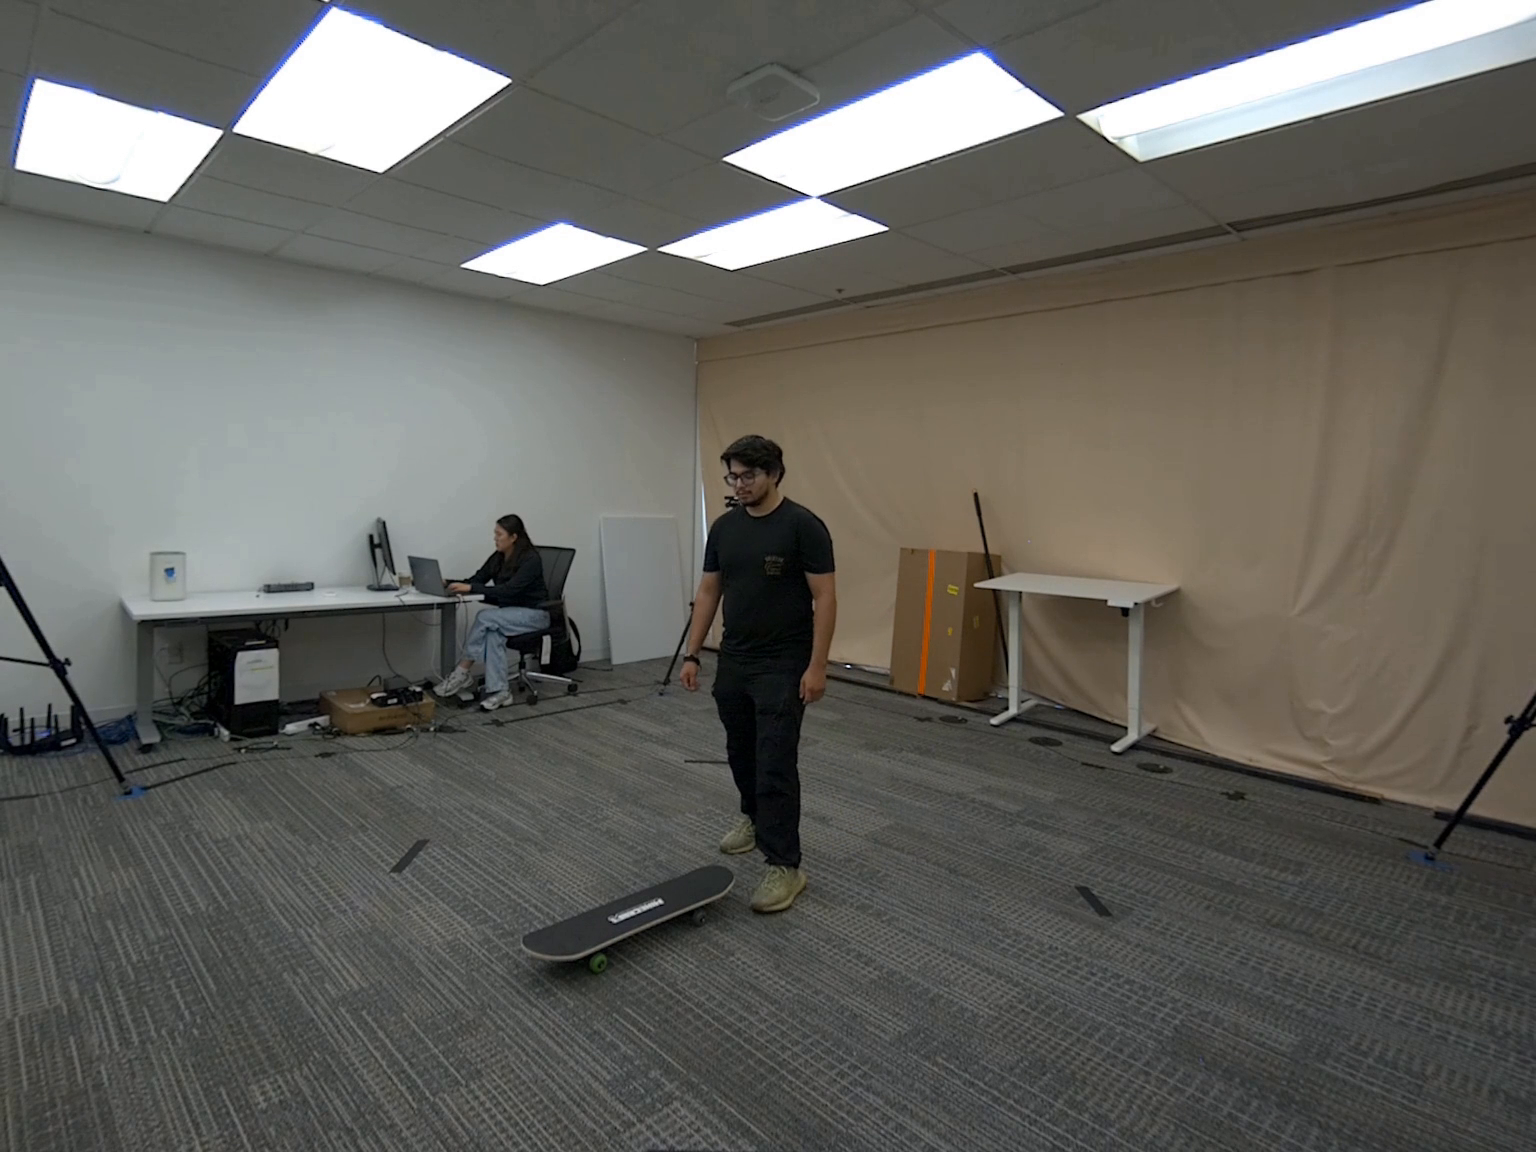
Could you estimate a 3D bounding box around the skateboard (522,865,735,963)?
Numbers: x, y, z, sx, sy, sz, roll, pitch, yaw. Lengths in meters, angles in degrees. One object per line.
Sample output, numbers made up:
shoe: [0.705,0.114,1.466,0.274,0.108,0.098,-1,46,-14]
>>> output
skateboard: [-0.418,1.083,2.647,0.198,0.110,0.768,5,7,44]
